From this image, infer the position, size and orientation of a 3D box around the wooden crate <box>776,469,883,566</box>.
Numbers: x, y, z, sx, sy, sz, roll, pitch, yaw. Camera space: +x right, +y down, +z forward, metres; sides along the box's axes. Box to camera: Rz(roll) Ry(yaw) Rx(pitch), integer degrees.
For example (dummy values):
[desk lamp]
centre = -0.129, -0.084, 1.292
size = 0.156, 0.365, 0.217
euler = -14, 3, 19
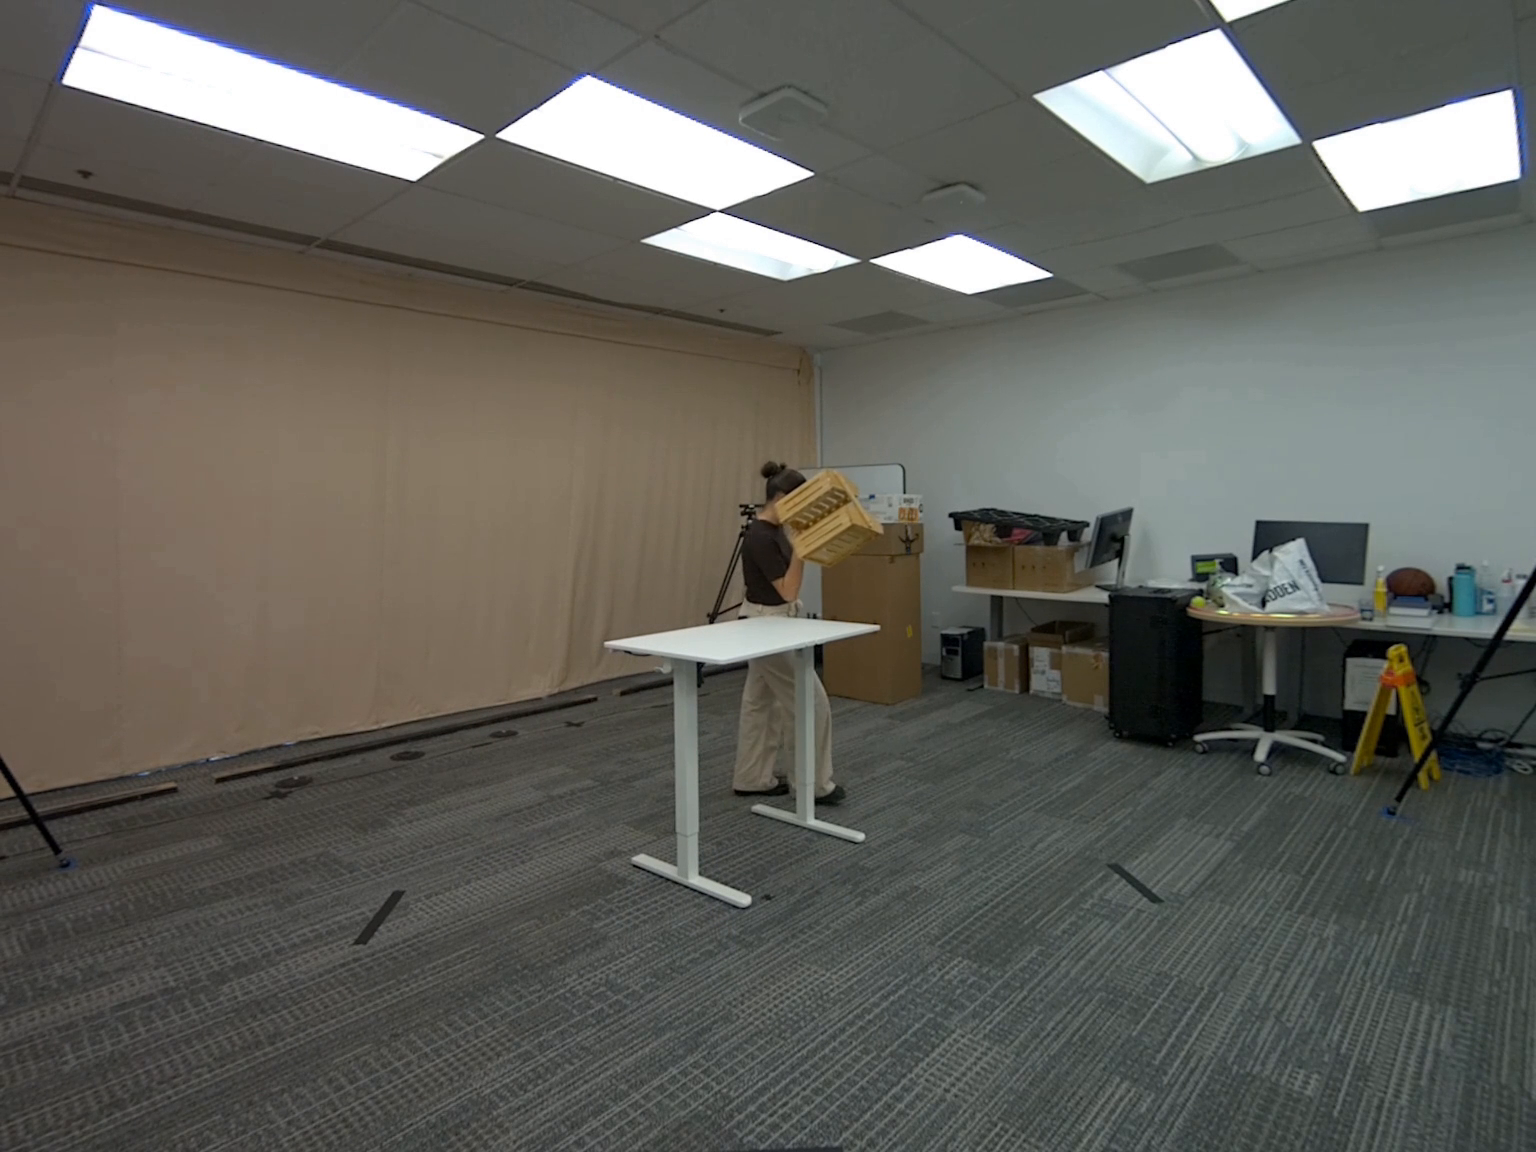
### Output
[wooden crate]
centre = 0.269, -0.244, 3.611
size = 0.329, 0.279, 0.291
euler = -34, -30, 32
